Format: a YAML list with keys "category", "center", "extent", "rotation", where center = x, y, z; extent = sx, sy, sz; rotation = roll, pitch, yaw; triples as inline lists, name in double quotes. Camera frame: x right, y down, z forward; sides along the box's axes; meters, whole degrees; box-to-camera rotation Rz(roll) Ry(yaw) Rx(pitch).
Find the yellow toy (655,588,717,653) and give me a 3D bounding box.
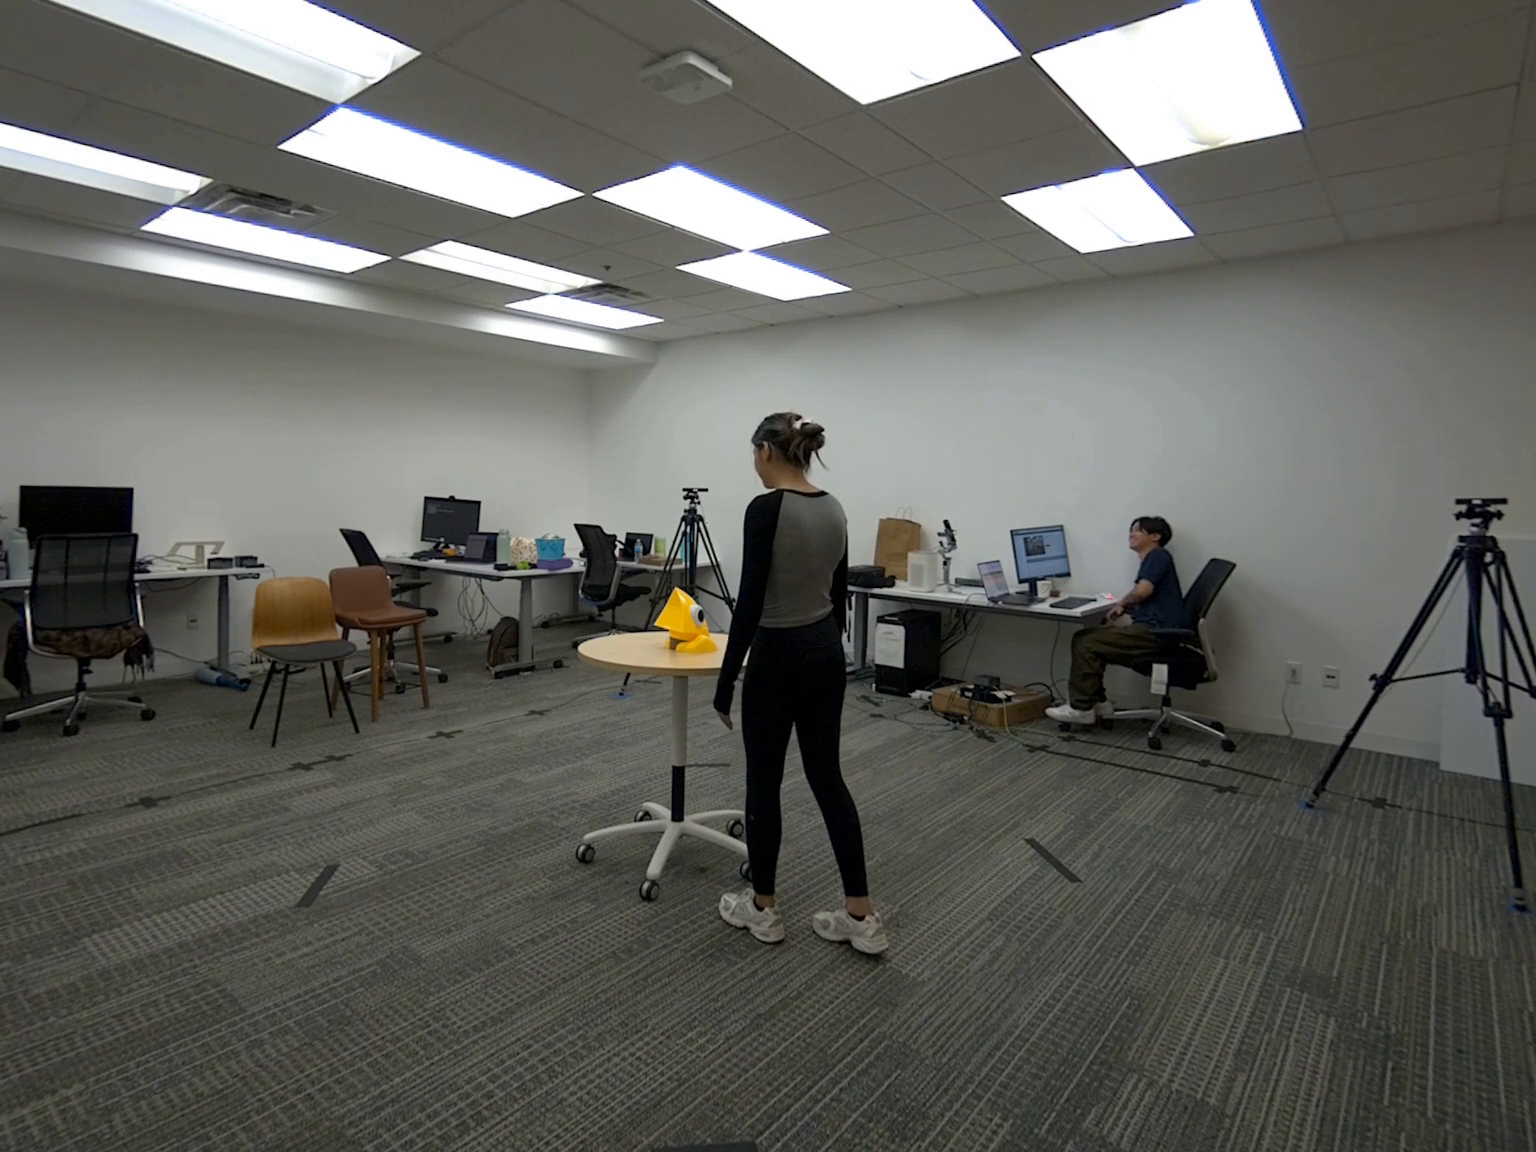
- category: "yellow toy"
  center: [-0.308, 0.153, 3.181]
  extent: [0.187, 0.230, 0.211]
  rotation: [-1, 4, -36]
